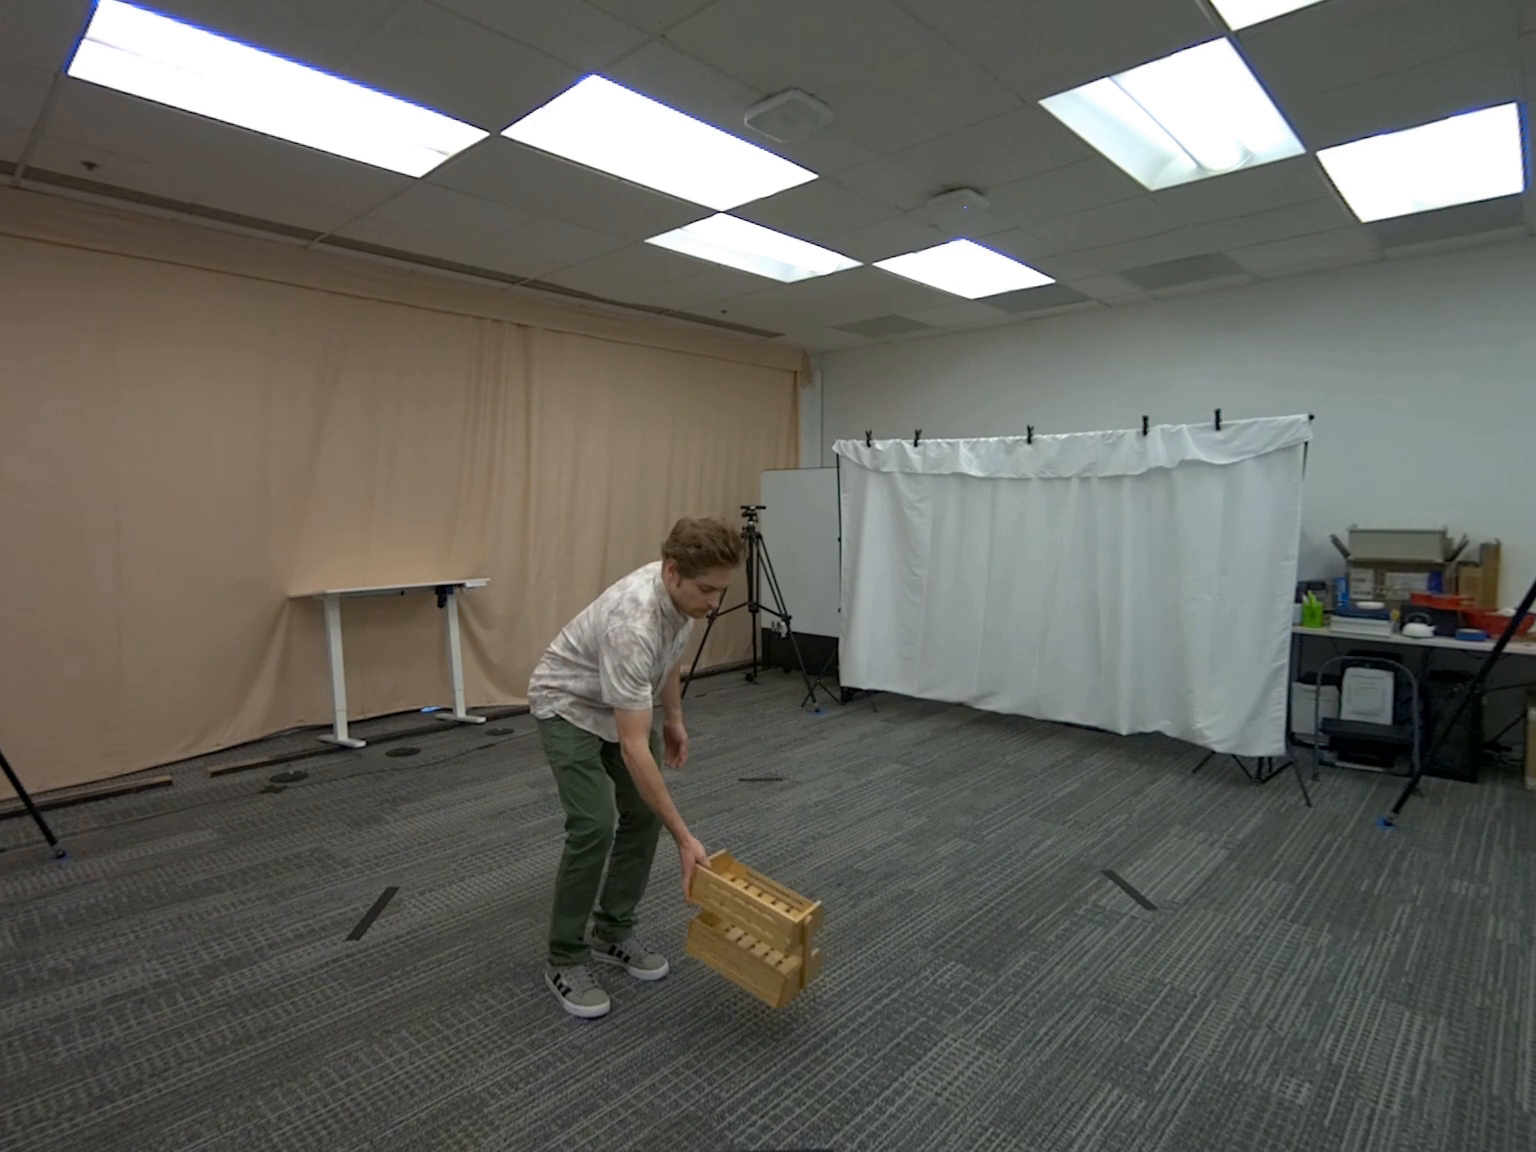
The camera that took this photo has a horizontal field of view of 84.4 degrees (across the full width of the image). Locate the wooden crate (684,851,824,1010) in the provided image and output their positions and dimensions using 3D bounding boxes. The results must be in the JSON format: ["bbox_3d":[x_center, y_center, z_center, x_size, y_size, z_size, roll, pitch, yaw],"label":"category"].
[{"bbox_3d":[-0.014,0.908,2.210,0.335,0.272,0.293,17,8,29],"label":"wooden crate"}]
